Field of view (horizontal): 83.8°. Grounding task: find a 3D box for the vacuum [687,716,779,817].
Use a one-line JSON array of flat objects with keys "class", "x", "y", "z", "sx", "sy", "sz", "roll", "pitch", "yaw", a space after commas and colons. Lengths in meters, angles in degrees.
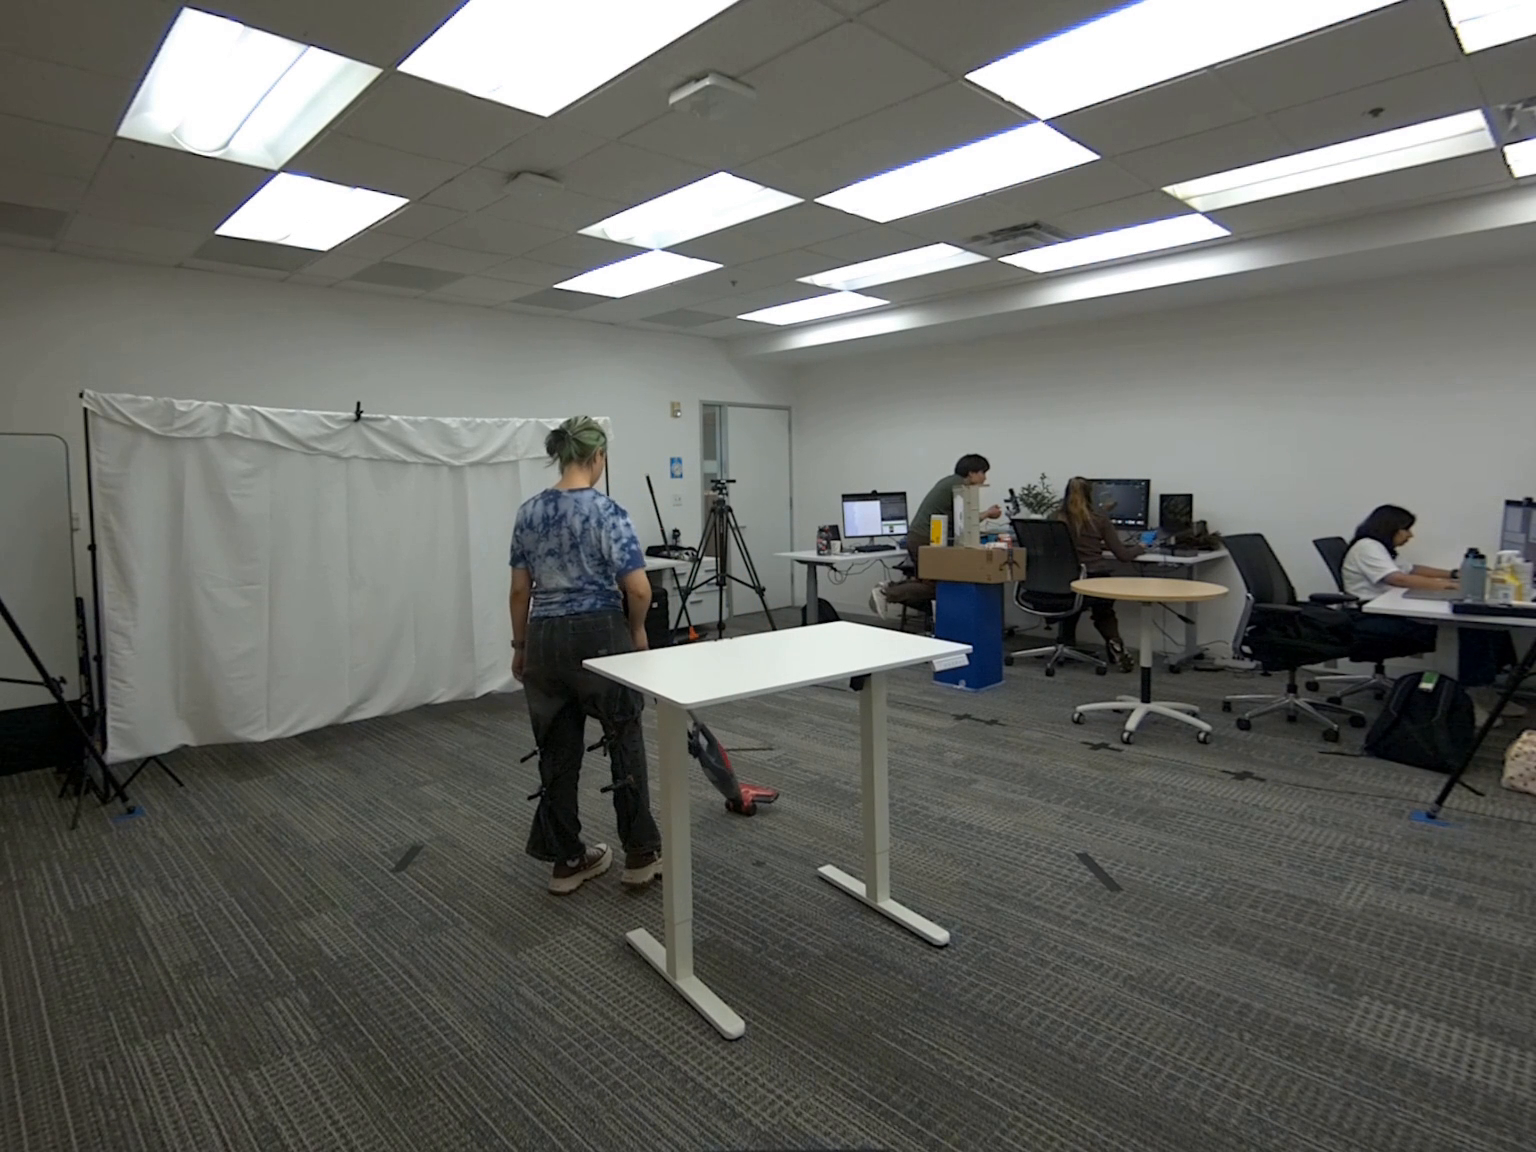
[{"class": "vacuum", "x": -0.297, "y": 0.604, "z": 3.348, "sx": 0.260, "sy": 1.013, "sz": 0.145, "roll": 2, "pitch": 46, "yaw": 38}]
